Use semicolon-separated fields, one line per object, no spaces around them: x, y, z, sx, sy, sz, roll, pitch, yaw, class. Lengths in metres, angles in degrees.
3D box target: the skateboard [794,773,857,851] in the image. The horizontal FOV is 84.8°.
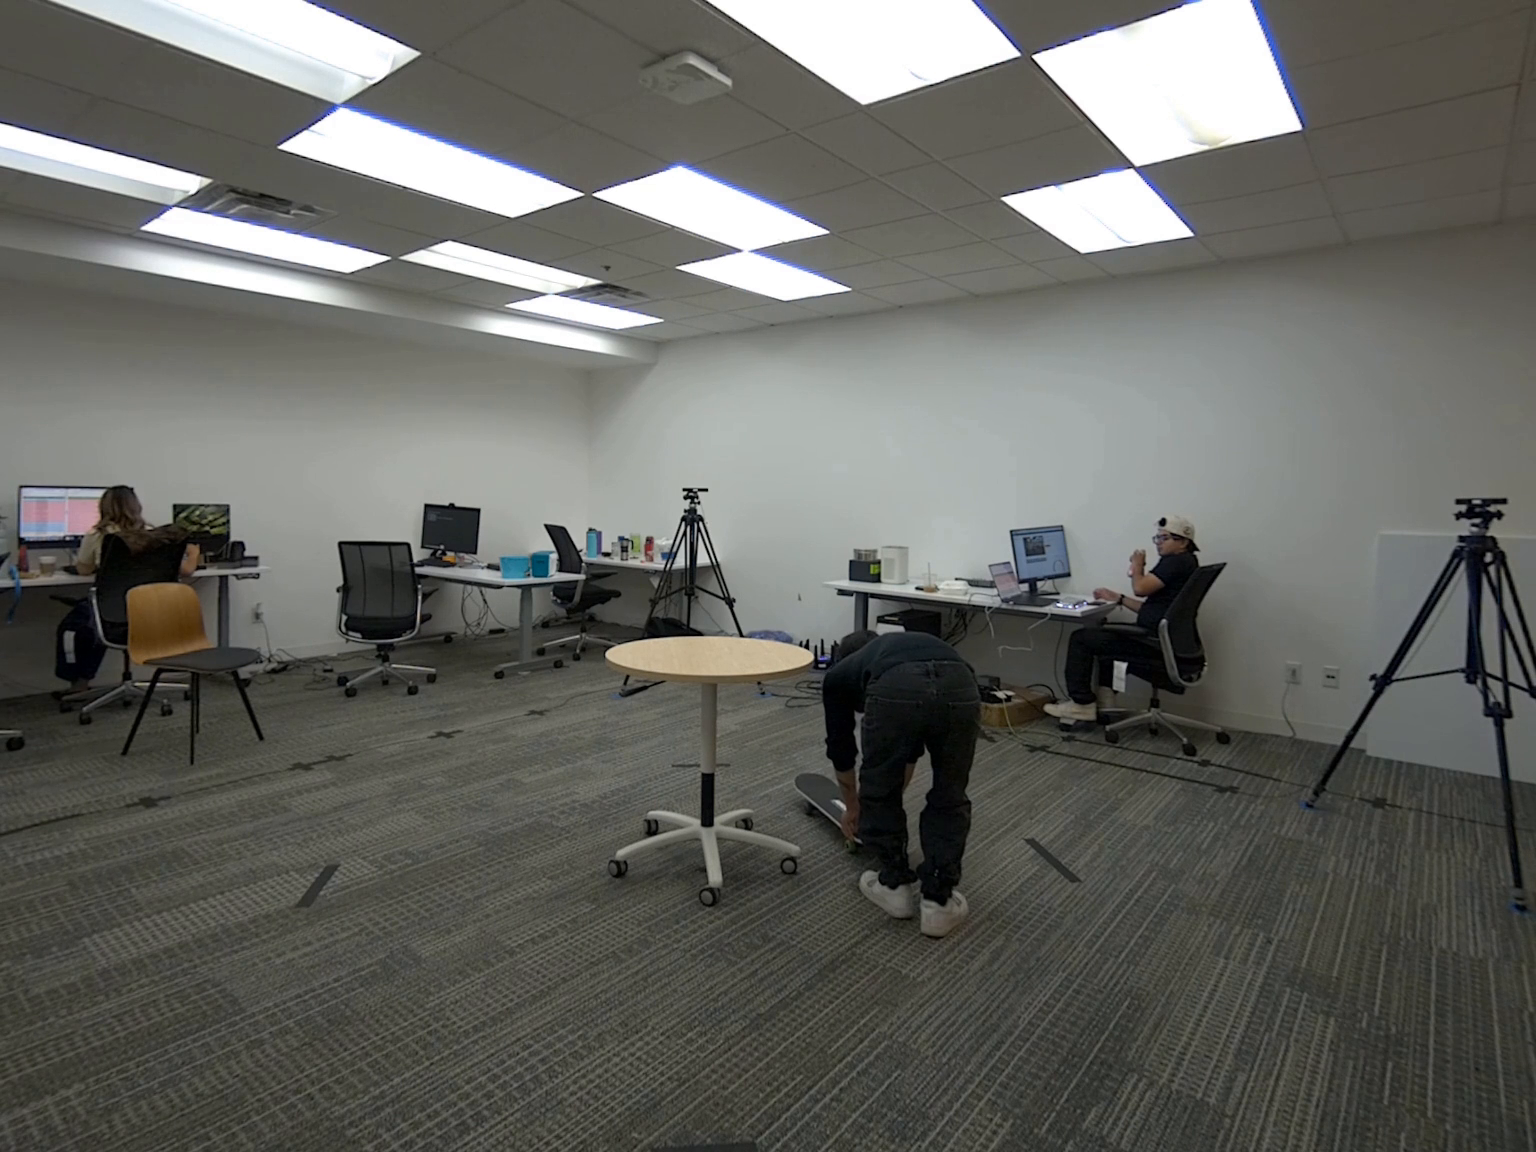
0.308;0.984;3.499;0.190;0.110;0.804;-2;6;-20;skateboard
